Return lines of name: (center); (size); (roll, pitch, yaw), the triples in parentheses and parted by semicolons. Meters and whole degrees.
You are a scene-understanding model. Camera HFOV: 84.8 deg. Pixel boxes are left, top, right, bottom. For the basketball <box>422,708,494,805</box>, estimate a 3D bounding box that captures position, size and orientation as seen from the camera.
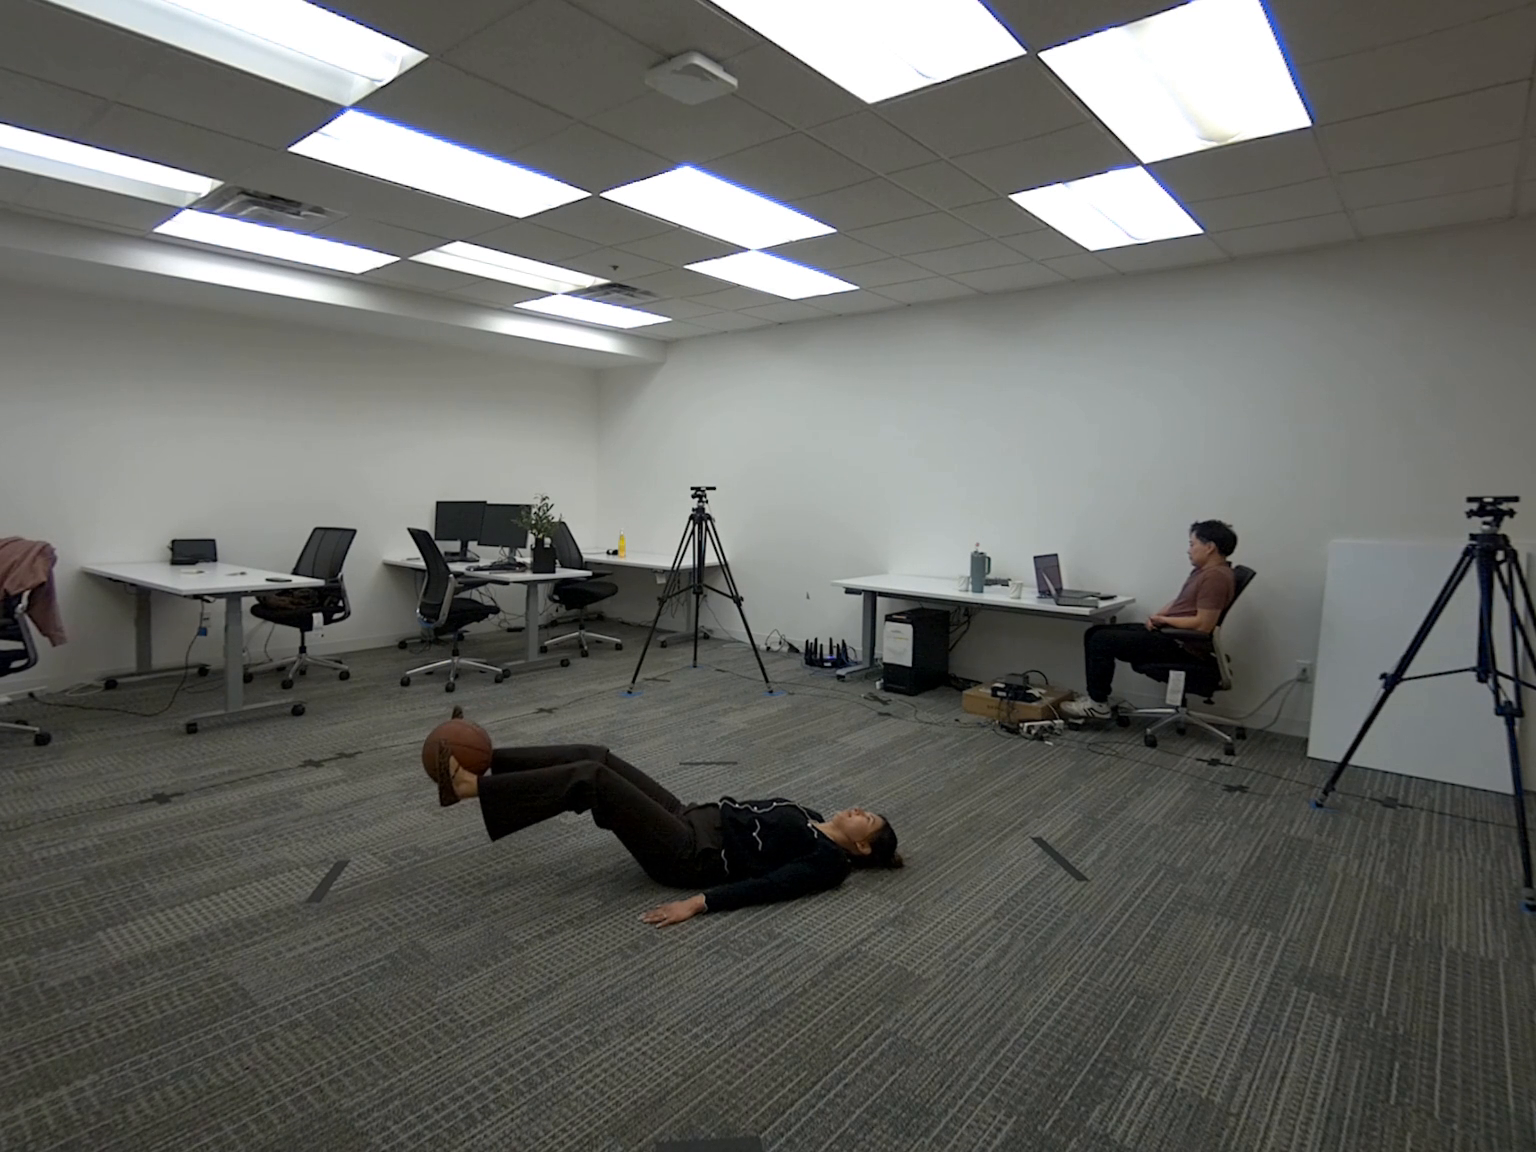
basketball: (-1.086, 0.615, 2.963); (0.236, 0.234, 0.238); (0, 7, -2)
